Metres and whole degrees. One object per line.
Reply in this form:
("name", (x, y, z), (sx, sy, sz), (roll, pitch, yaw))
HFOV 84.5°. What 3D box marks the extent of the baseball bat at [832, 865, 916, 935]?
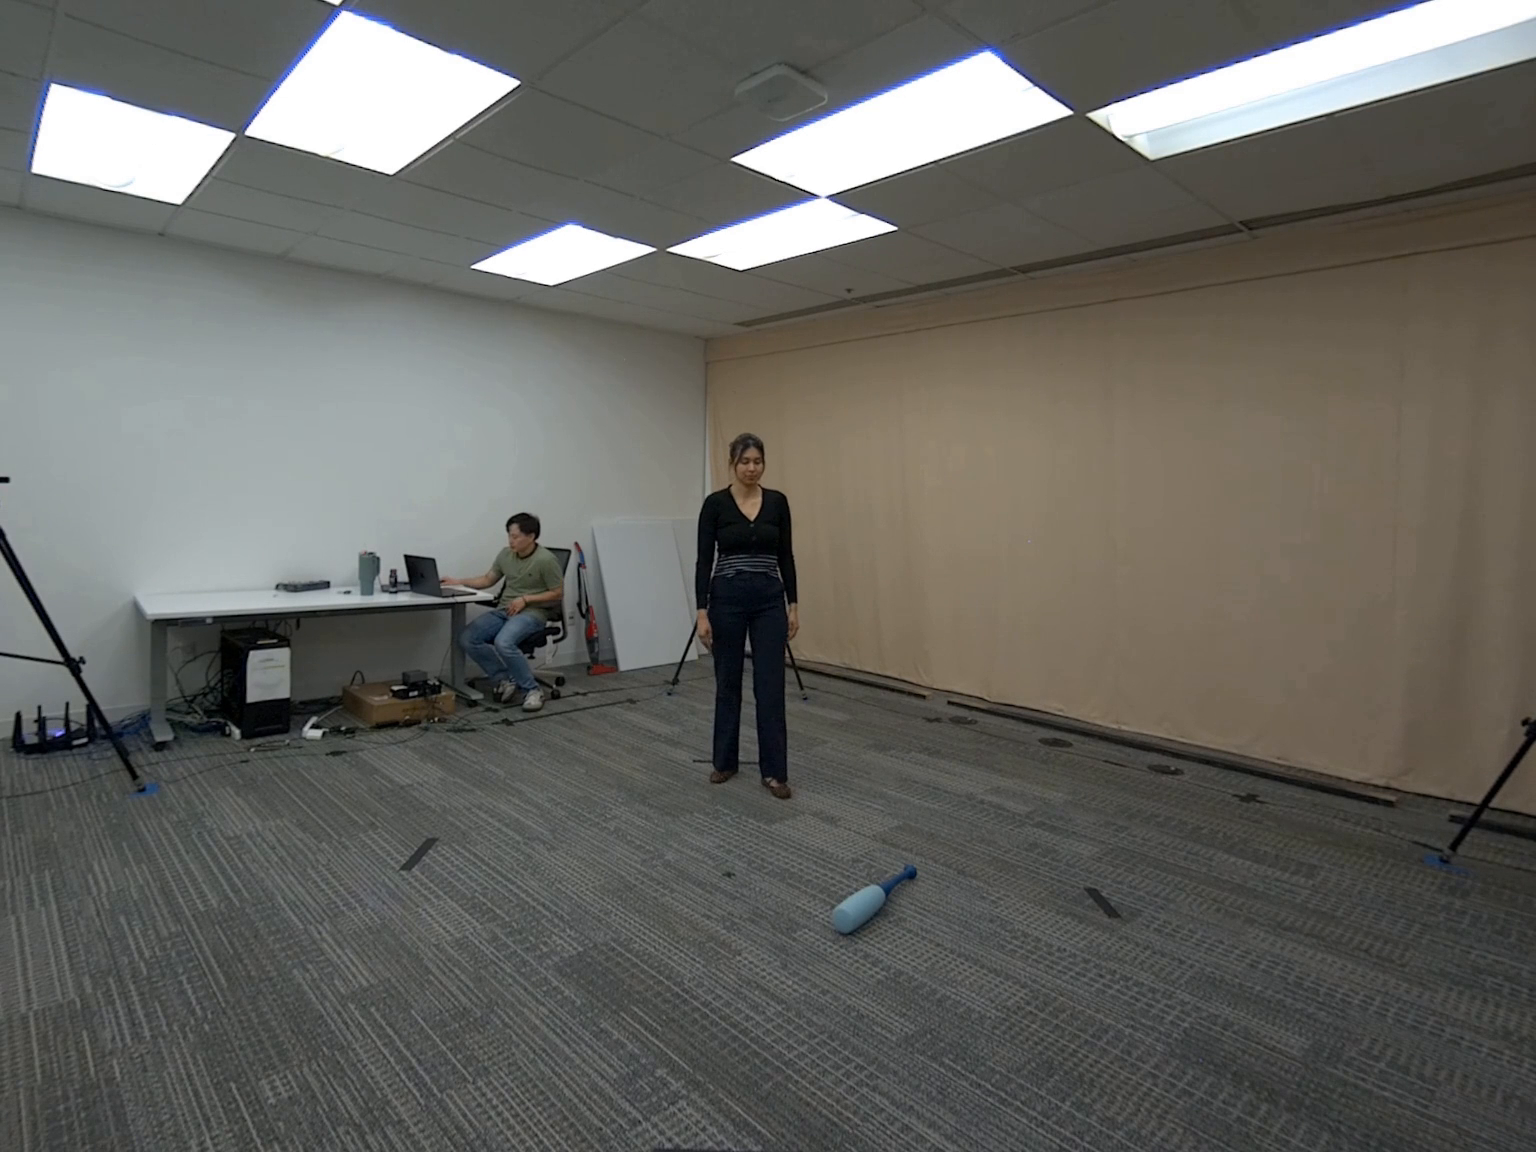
("baseball bat", (0.378, 1.100, 2.893), (0.091, 0.089, 0.531), (4, 3, 33))
